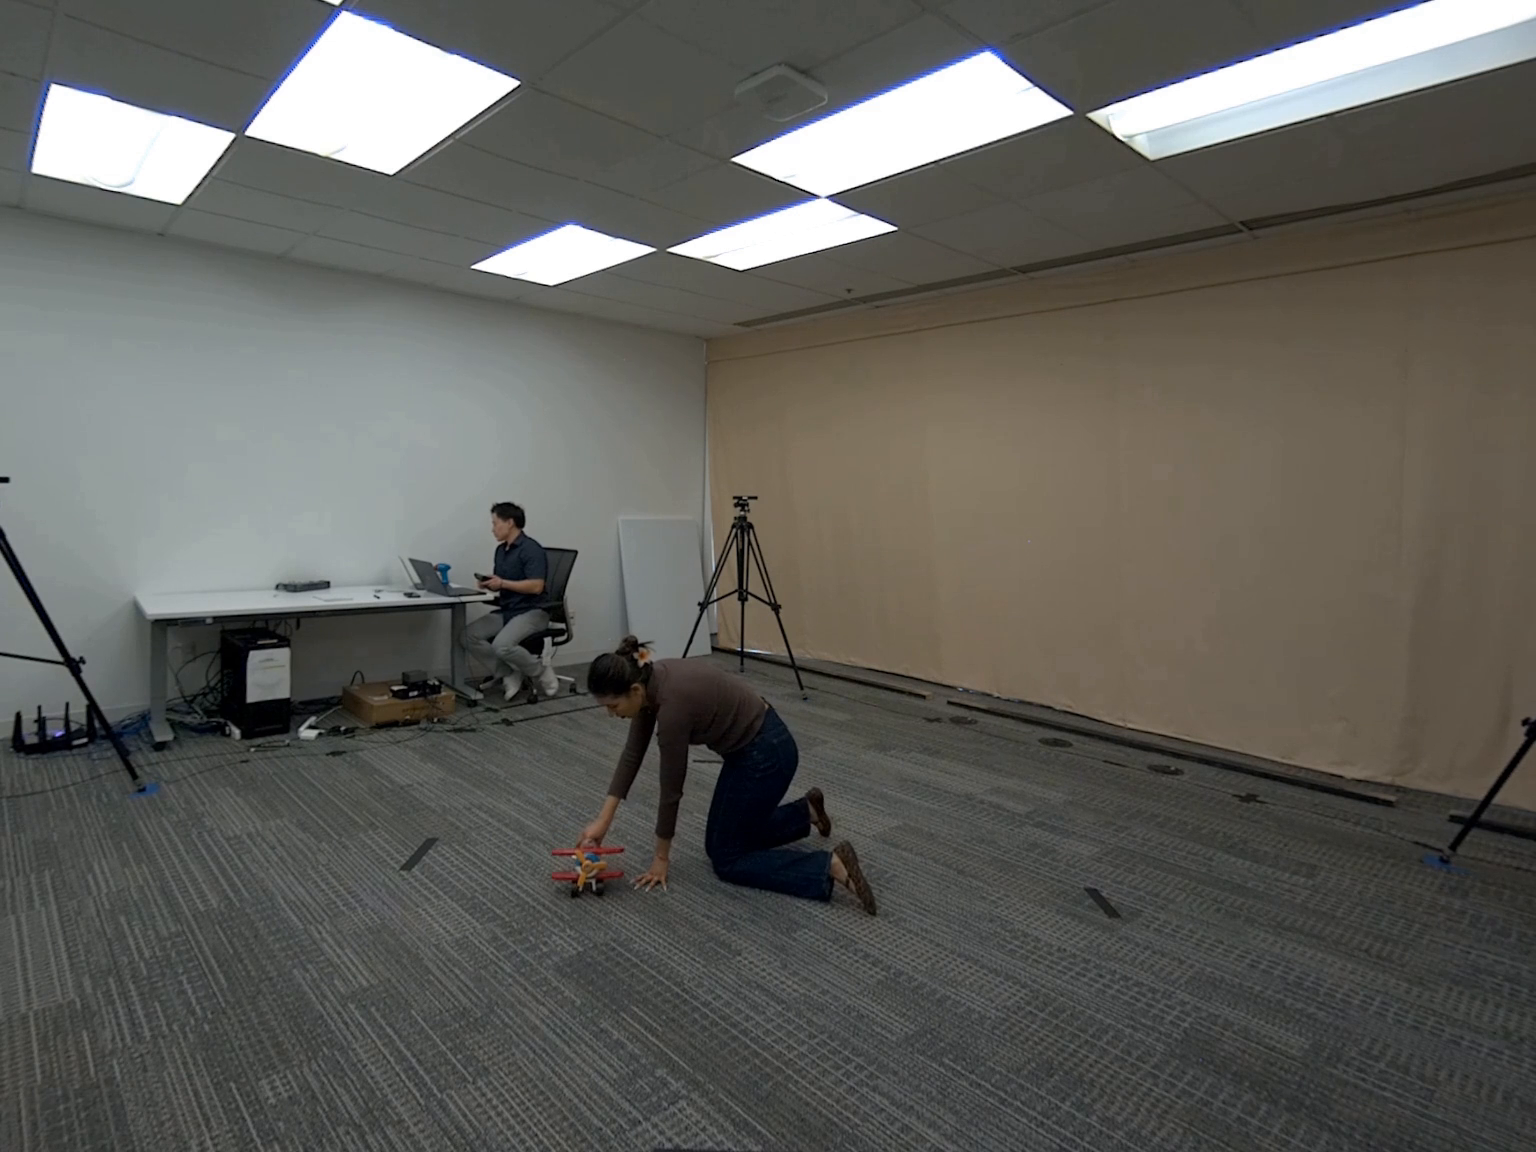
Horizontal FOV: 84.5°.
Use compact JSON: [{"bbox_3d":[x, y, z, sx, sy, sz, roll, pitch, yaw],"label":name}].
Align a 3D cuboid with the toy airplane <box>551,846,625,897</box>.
[{"bbox_3d":[-0.665,1.028,2.993,0.245,0.156,0.266,-3,8,-38],"label":"toy airplane"}]
